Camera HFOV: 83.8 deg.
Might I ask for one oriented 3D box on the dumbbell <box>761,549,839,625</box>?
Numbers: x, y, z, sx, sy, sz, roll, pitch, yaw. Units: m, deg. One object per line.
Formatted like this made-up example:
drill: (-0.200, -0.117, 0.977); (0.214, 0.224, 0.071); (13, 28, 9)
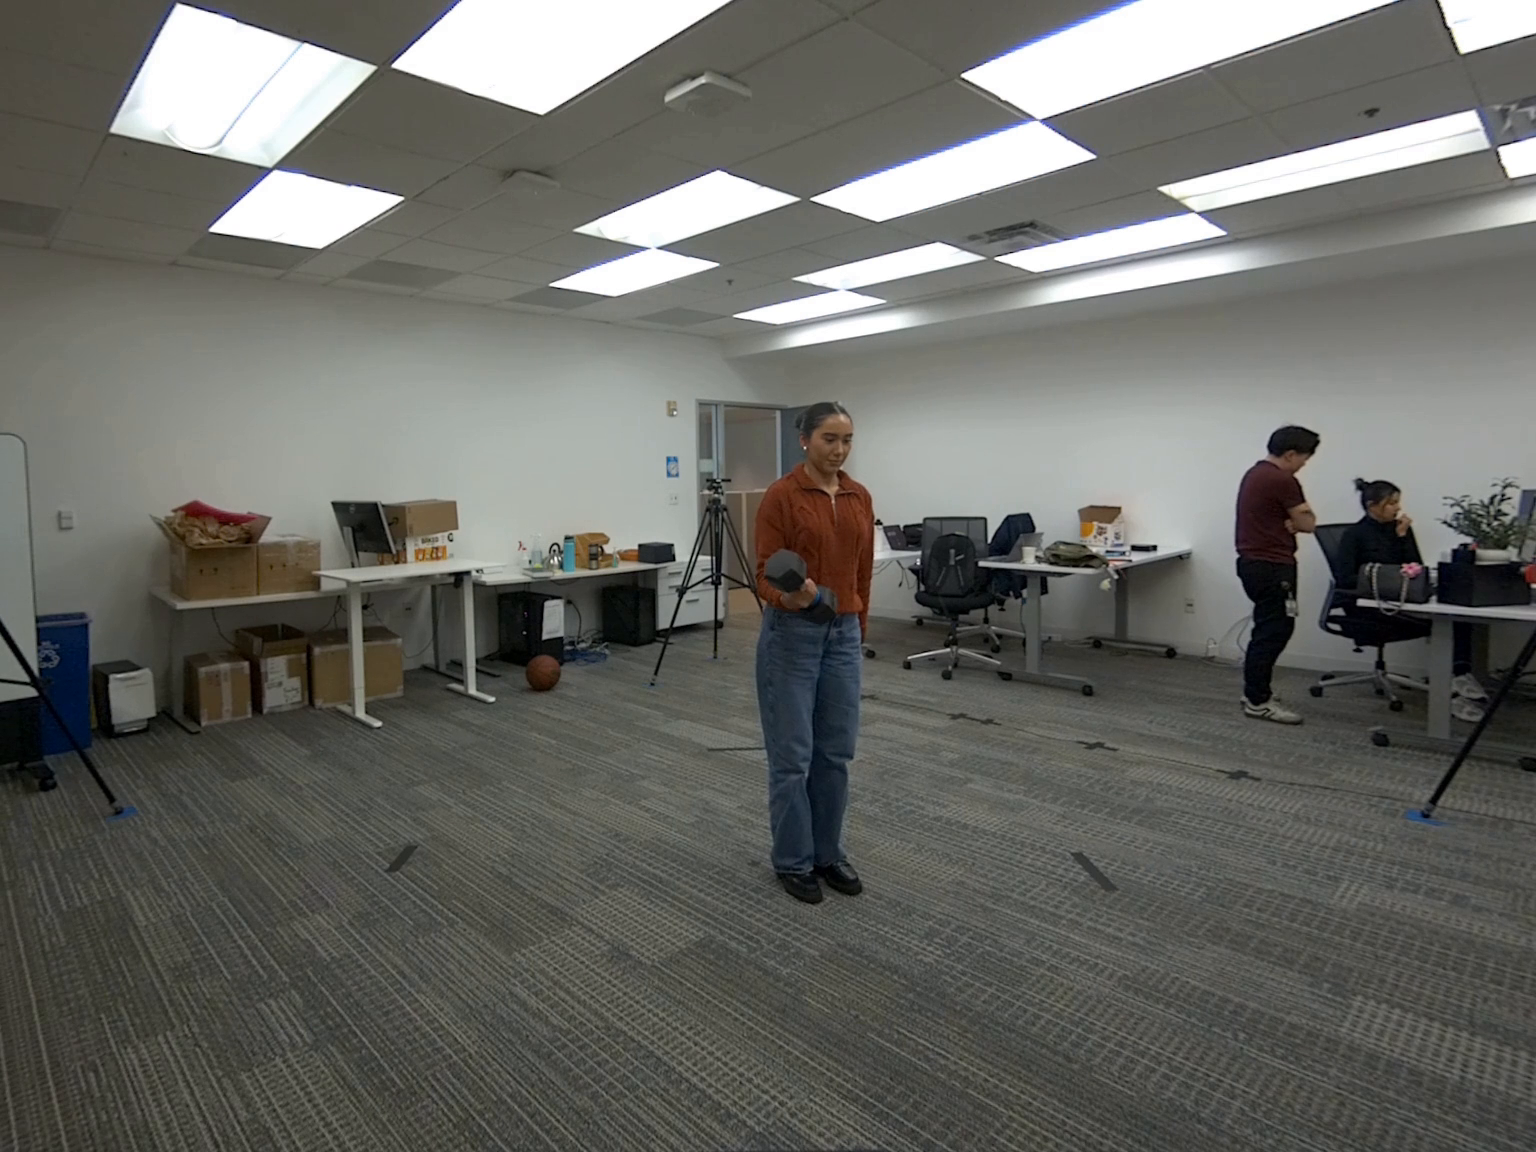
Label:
dumbbell: (0.099, 0.038, 2.570); (0.127, 0.109, 0.282); (19, -19, 43)
